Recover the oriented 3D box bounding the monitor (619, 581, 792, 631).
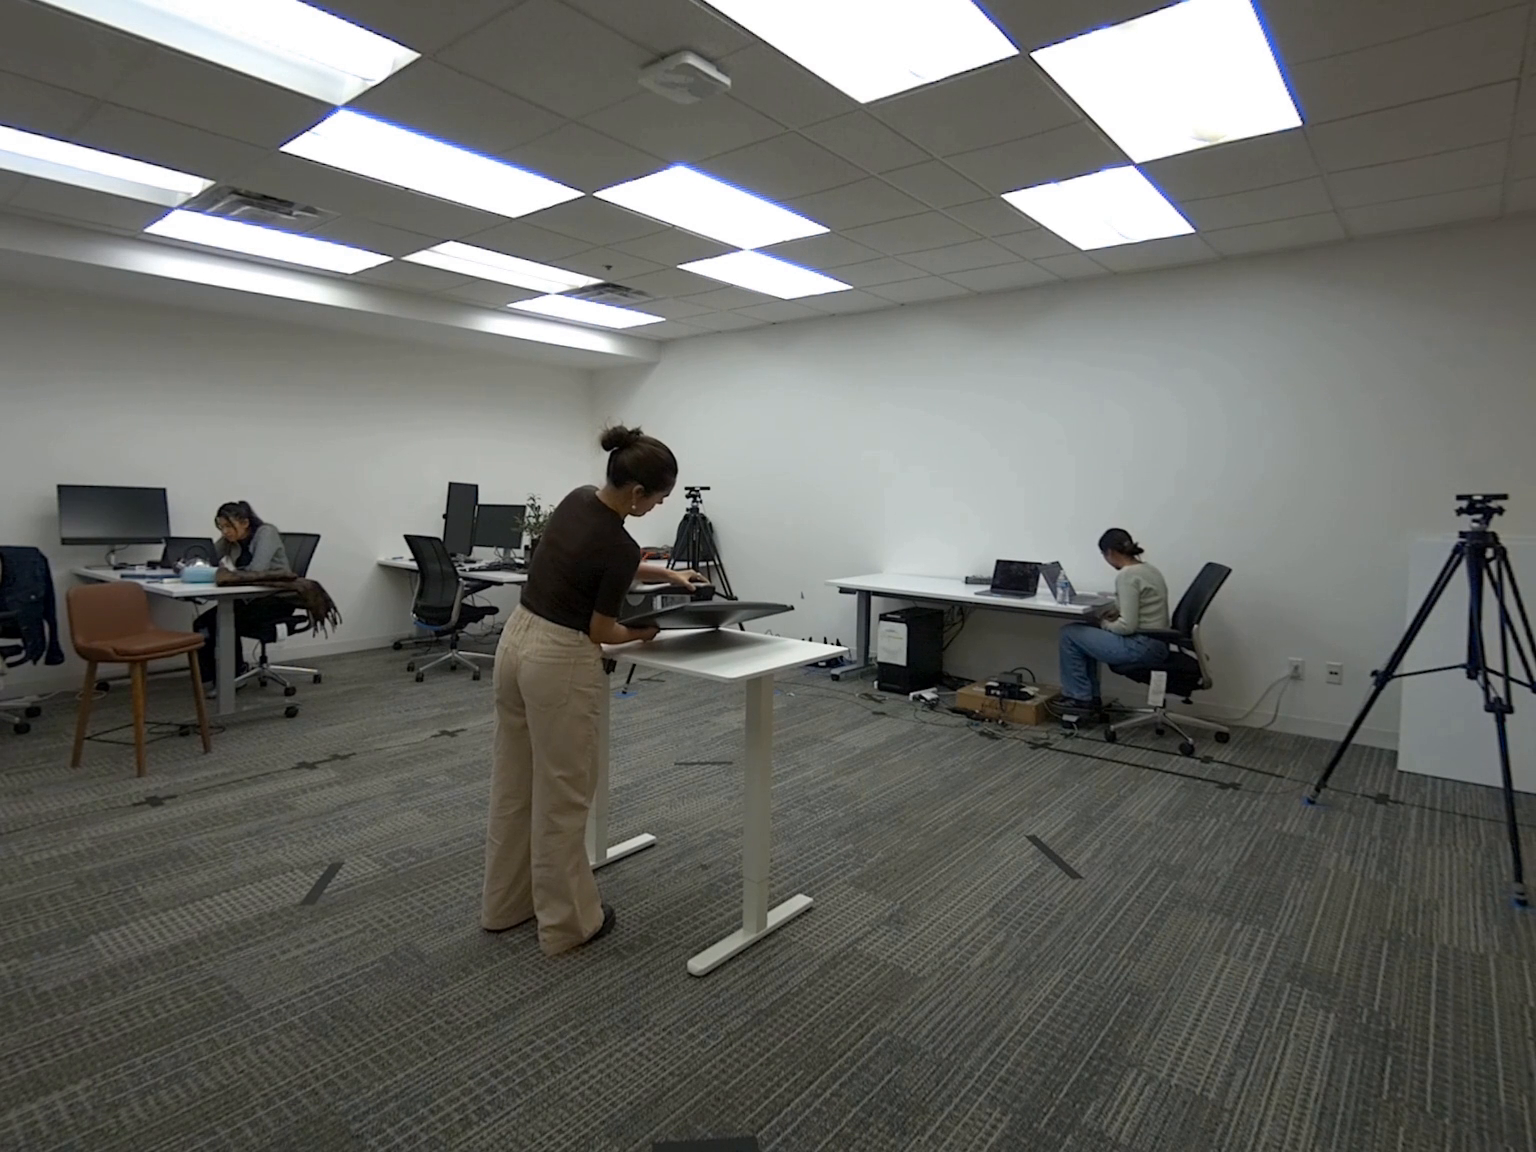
[{"bbox_3d":[-0.291,0.101,2.830,0.540,0.186,0.522,5,5,42],"label":"monitor"}]
